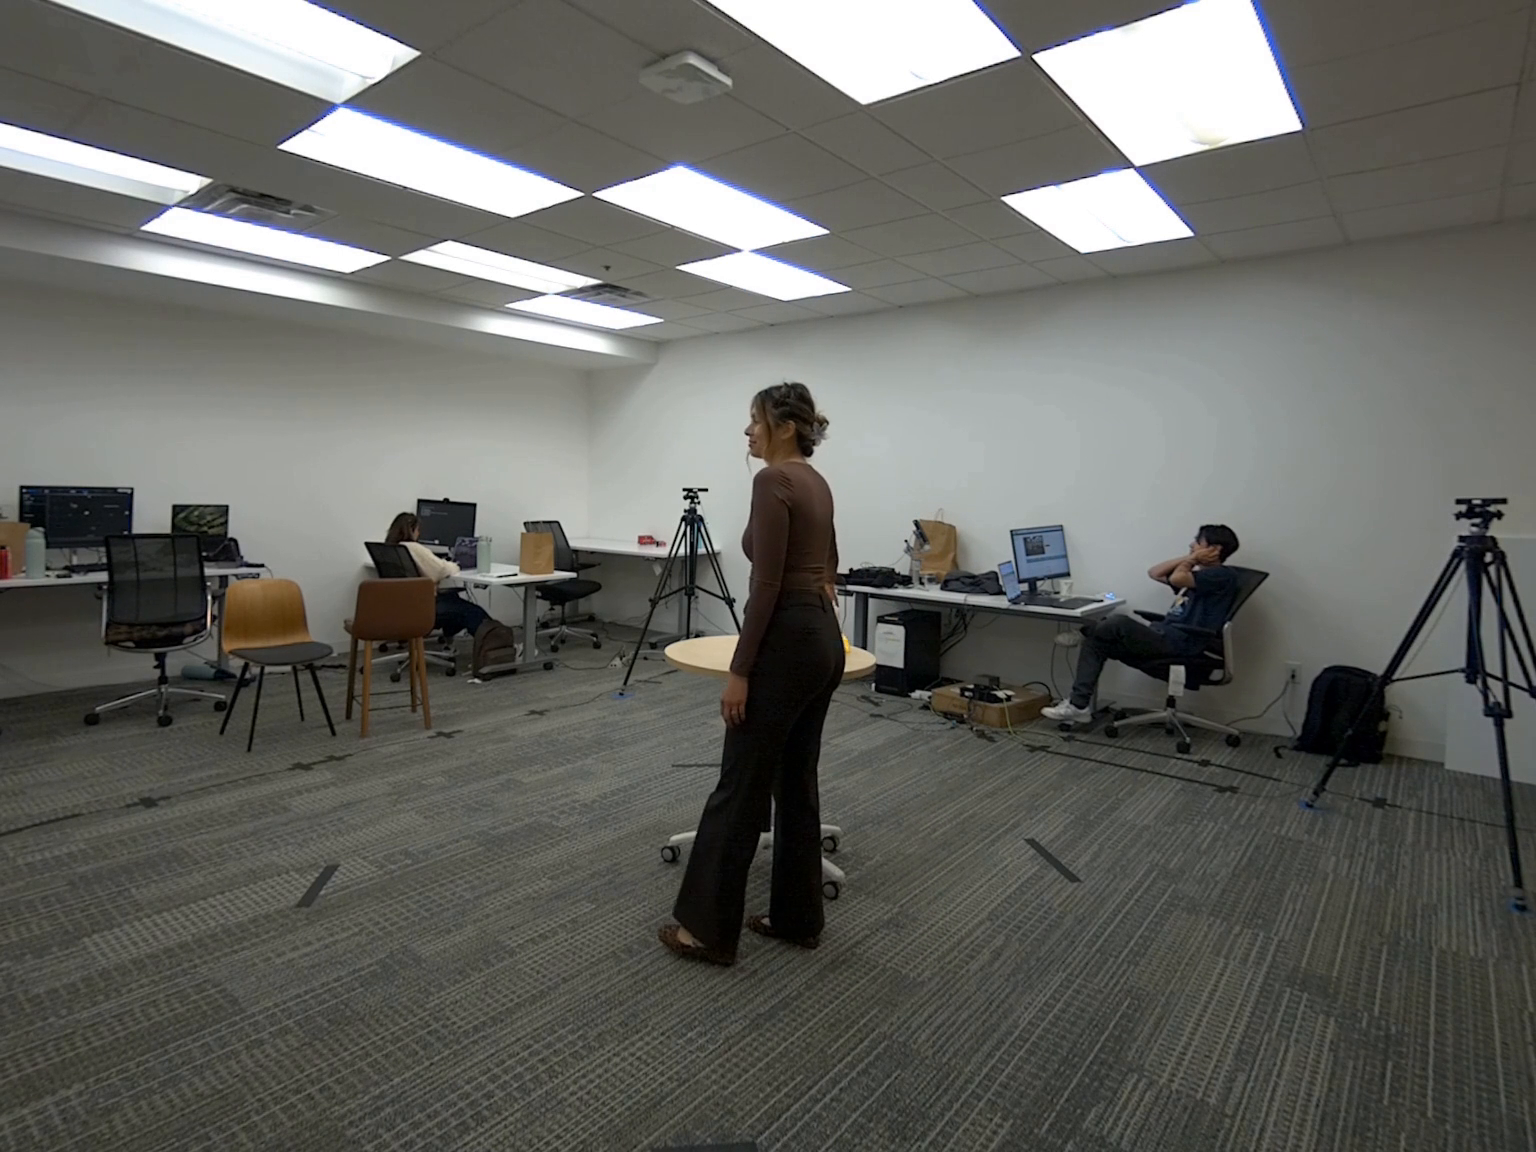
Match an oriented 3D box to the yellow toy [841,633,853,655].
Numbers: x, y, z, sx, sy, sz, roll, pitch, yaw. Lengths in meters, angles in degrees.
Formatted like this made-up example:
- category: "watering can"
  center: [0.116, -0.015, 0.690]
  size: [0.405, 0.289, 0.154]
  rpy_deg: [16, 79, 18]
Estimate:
- category: "yellow toy"
  center: [0.193, 0.160, 3.196]
  size: [0.199, 0.230, 0.199]
  rpy_deg: [0, 3, -30]
